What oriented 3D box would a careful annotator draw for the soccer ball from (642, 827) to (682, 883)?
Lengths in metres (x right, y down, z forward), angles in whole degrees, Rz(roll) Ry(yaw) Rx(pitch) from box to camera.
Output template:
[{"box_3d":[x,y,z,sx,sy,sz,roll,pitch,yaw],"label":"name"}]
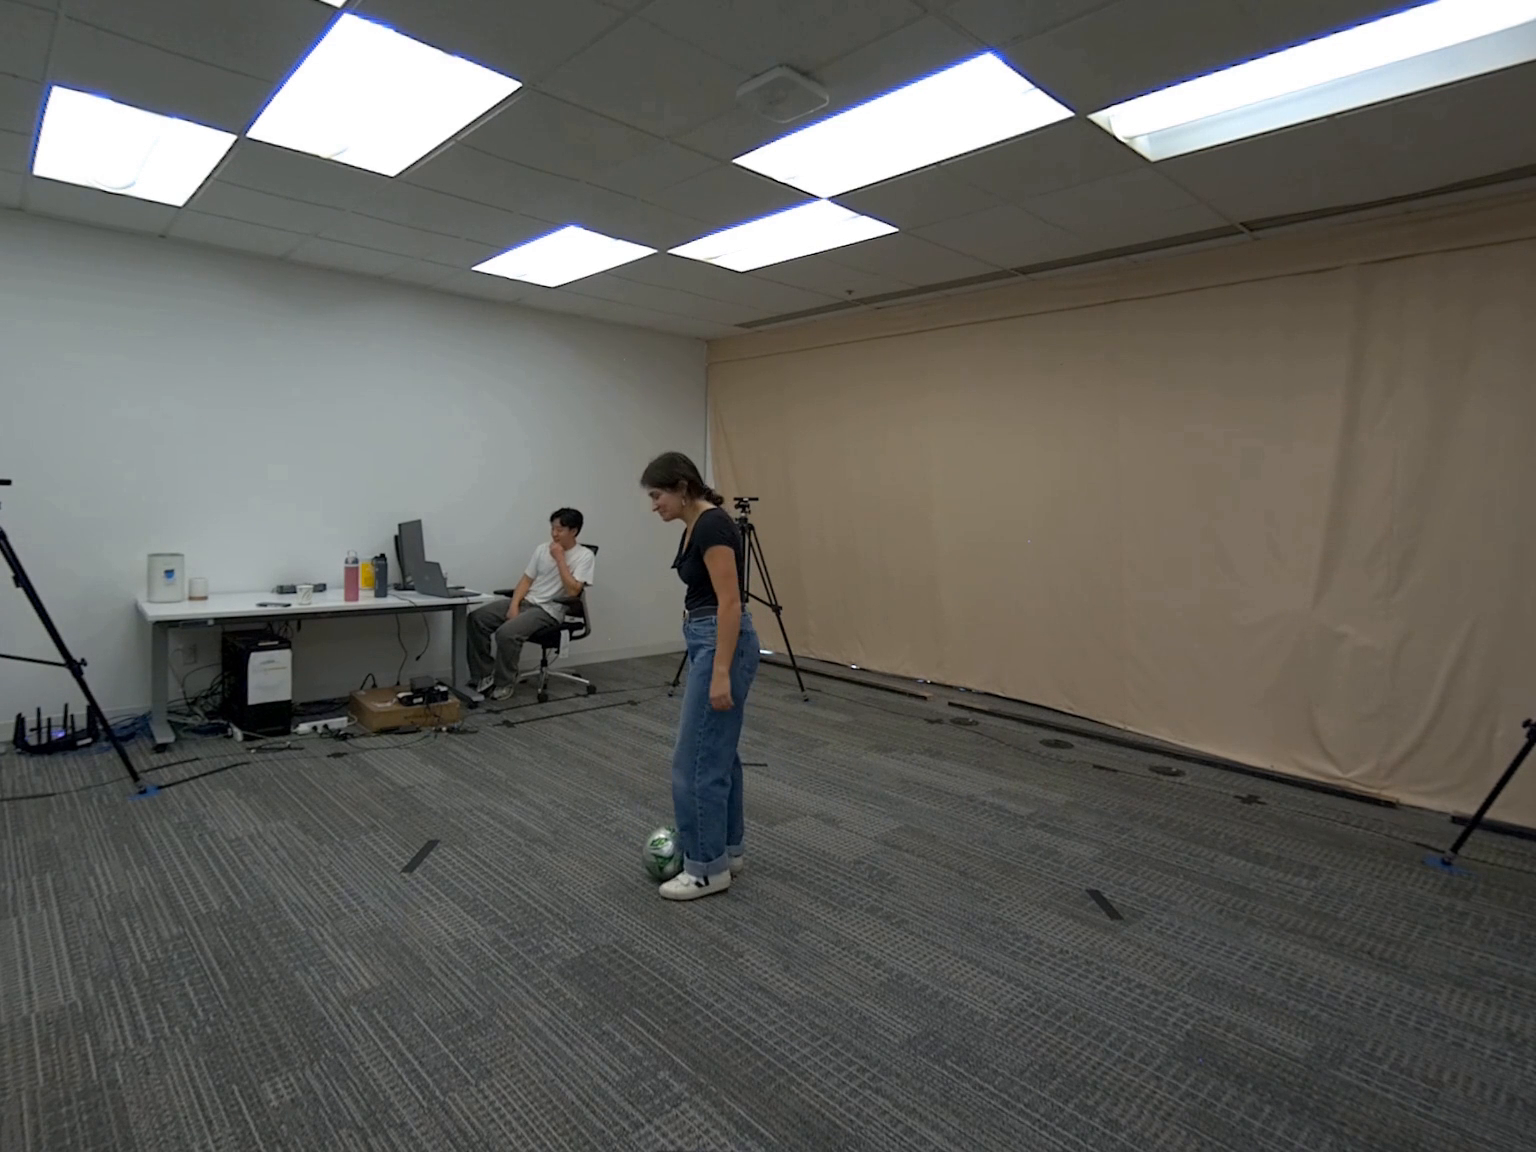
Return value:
[{"box_3d":[-0.369,1.009,3.079,0.187,0.187,0.188,1,4,-1],"label":"soccer ball"}]
